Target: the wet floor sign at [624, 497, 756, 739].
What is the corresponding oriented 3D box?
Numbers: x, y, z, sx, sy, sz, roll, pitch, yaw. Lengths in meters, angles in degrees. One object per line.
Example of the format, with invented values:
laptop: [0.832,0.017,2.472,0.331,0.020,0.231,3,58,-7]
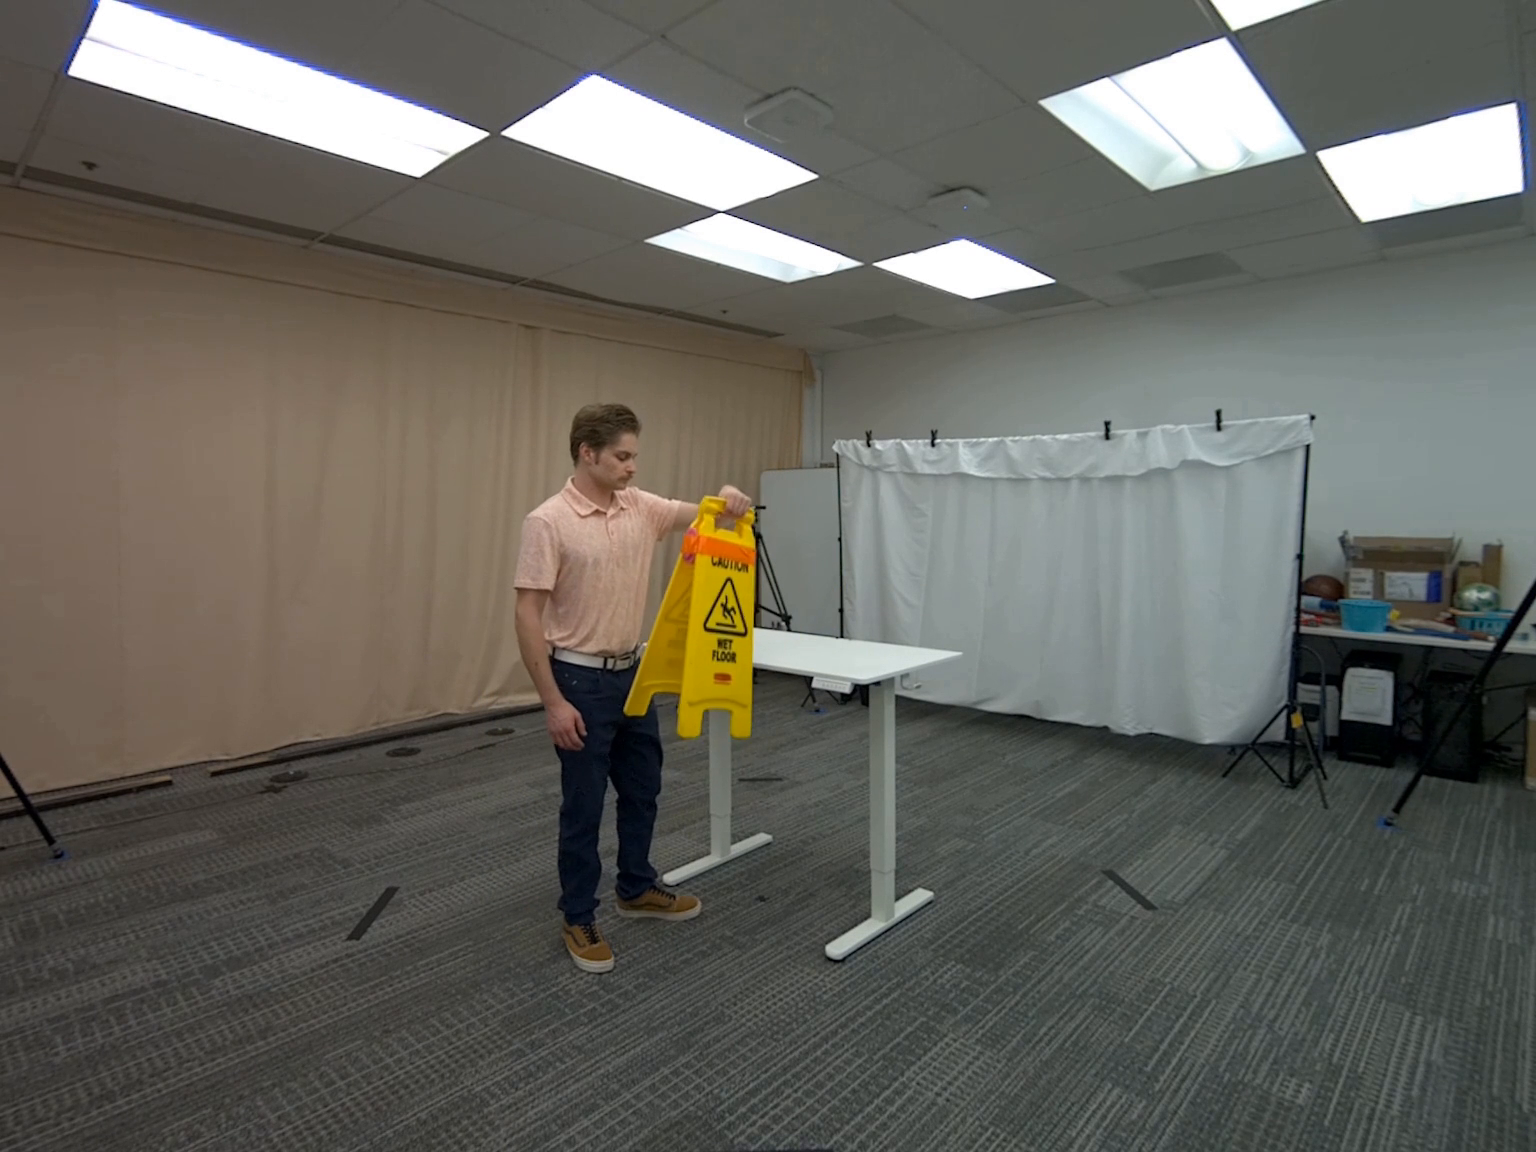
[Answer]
wet floor sign: [-0.168,0.106,2.400,0.300,0.647,0.272,8,-4,44]
